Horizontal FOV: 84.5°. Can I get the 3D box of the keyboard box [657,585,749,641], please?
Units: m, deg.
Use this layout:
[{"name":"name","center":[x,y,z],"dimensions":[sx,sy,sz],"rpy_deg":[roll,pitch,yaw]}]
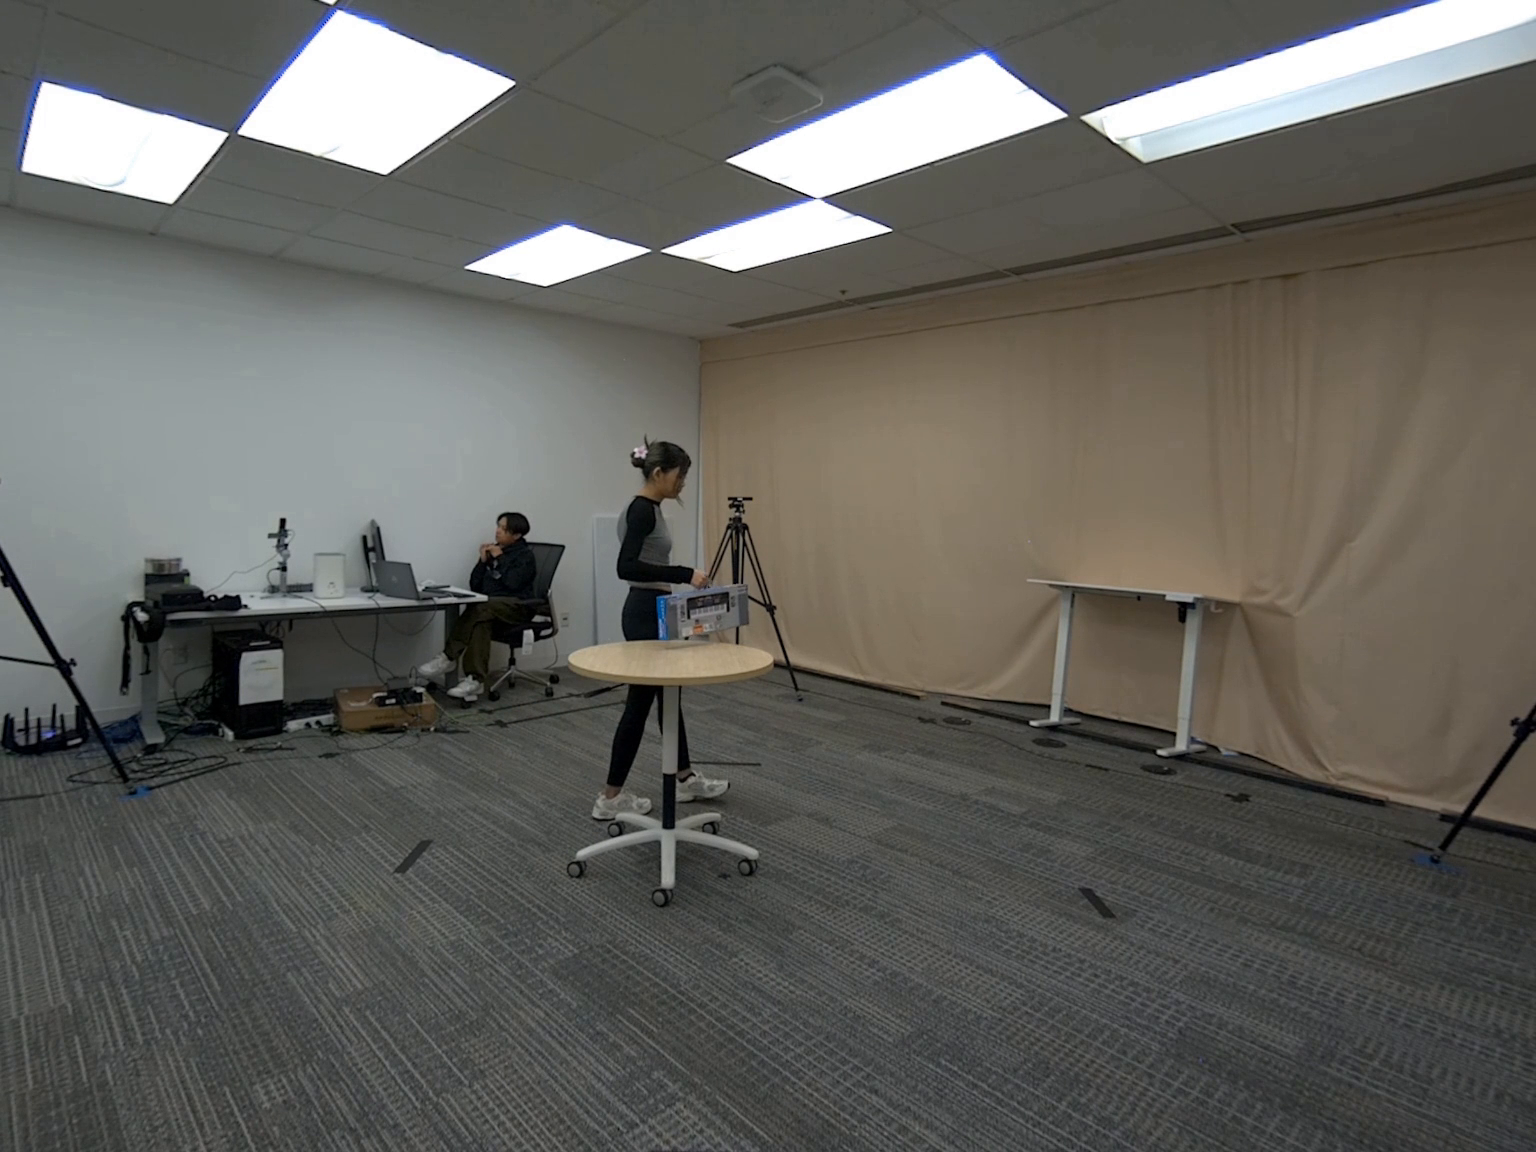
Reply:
[{"name":"keyboard box","center":[-0.267,0.146,3.449],"dimensions":[0.428,0.175,0.060],"rpy_deg":[-8,7,-42]}]
